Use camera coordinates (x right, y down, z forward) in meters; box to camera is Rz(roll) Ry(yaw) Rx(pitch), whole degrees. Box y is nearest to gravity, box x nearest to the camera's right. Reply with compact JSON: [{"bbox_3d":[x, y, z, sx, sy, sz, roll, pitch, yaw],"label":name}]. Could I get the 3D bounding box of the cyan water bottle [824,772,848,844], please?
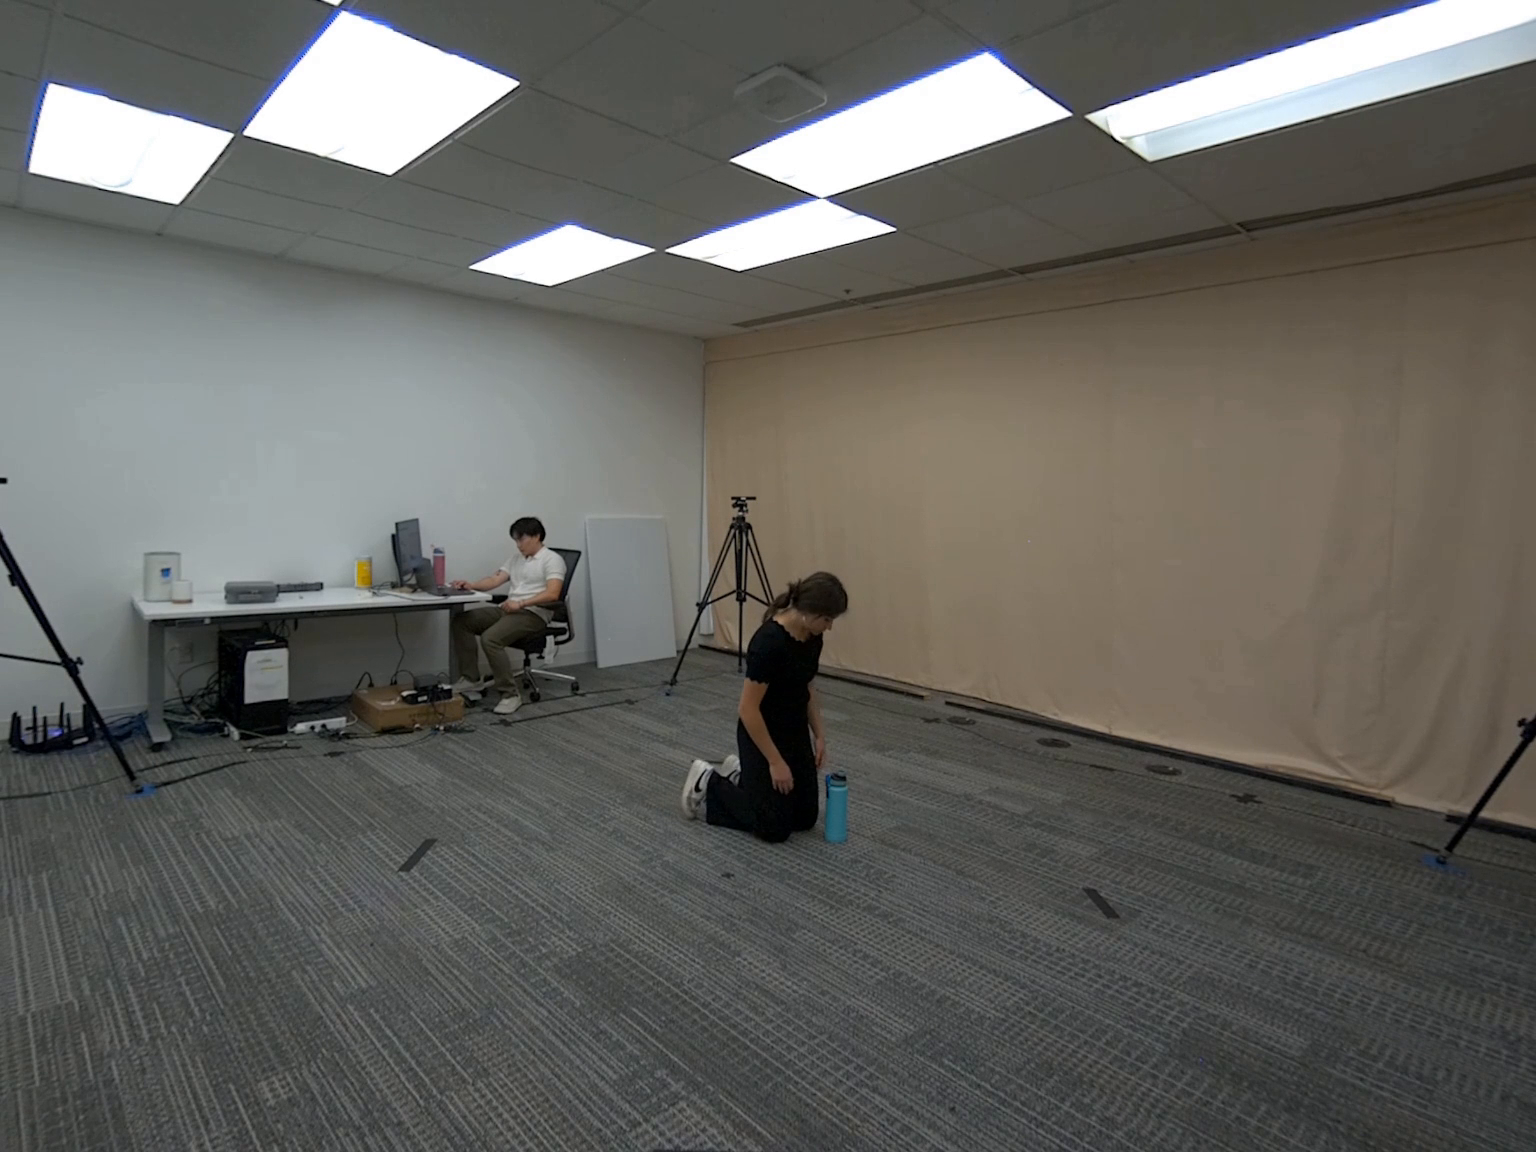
[{"bbox_3d":[0.267,0.946,3.467,0.092,0.283,0.092,1,2,-1],"label":"cyan water bottle"}]
